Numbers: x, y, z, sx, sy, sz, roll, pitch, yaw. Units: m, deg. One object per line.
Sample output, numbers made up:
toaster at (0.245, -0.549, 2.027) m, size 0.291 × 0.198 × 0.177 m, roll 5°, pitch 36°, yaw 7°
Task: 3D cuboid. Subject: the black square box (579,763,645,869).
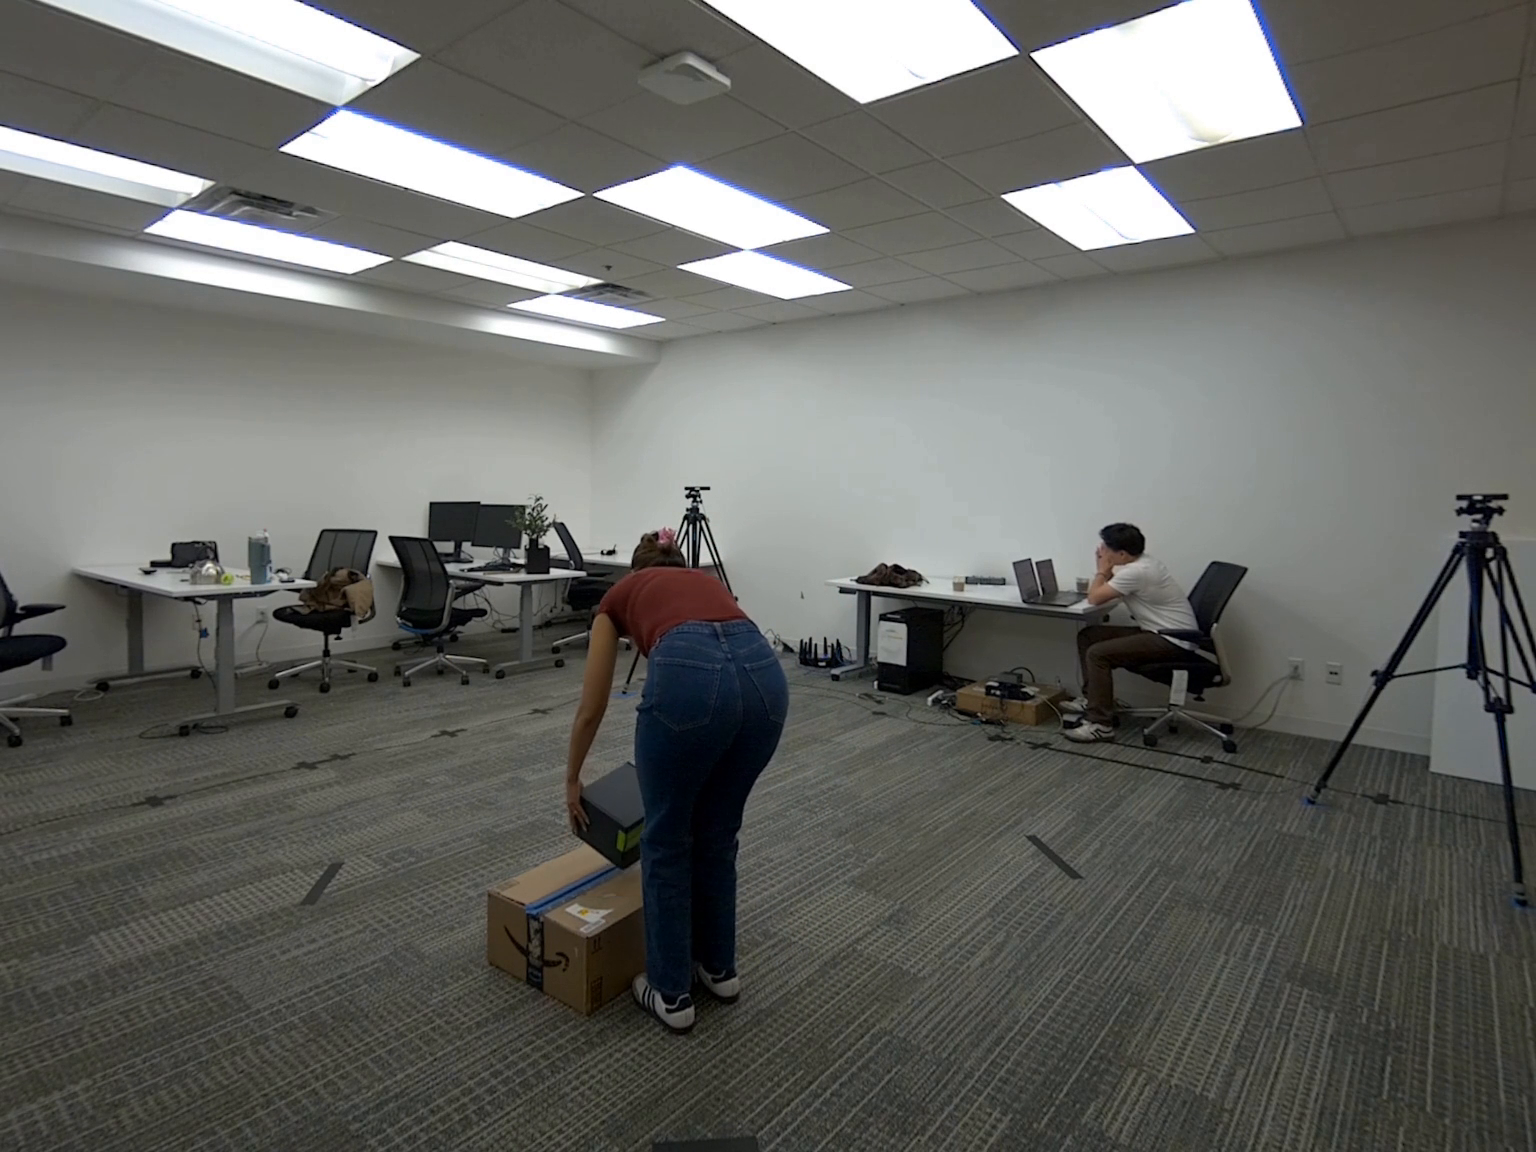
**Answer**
black square box at (-0.439, 0.713, 2.586) m, size 0.225 × 0.153 × 0.223 m, roll 23°, pitch 26°, yaw 30°
